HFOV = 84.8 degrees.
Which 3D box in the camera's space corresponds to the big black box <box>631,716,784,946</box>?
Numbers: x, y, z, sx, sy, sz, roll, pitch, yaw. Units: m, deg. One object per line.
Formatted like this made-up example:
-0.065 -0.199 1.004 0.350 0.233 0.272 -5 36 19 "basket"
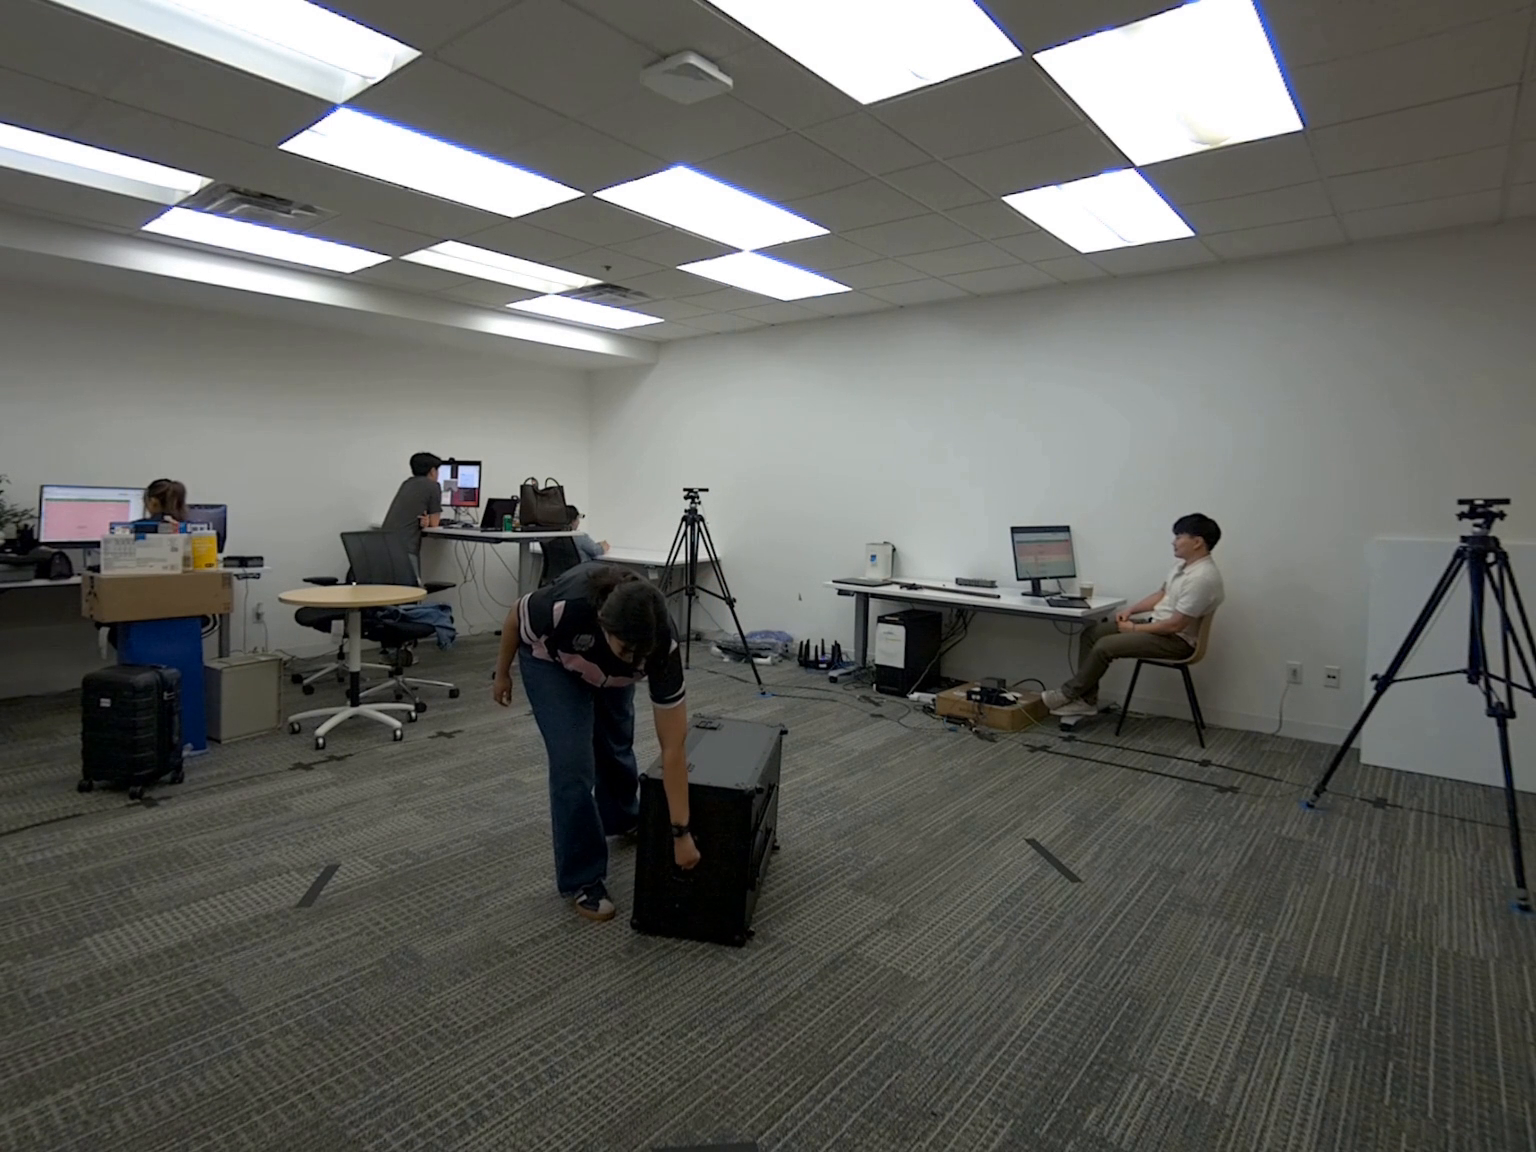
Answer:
-0.181 0.824 3.006 0.389 0.521 0.862 2 5 8 "big black box"
